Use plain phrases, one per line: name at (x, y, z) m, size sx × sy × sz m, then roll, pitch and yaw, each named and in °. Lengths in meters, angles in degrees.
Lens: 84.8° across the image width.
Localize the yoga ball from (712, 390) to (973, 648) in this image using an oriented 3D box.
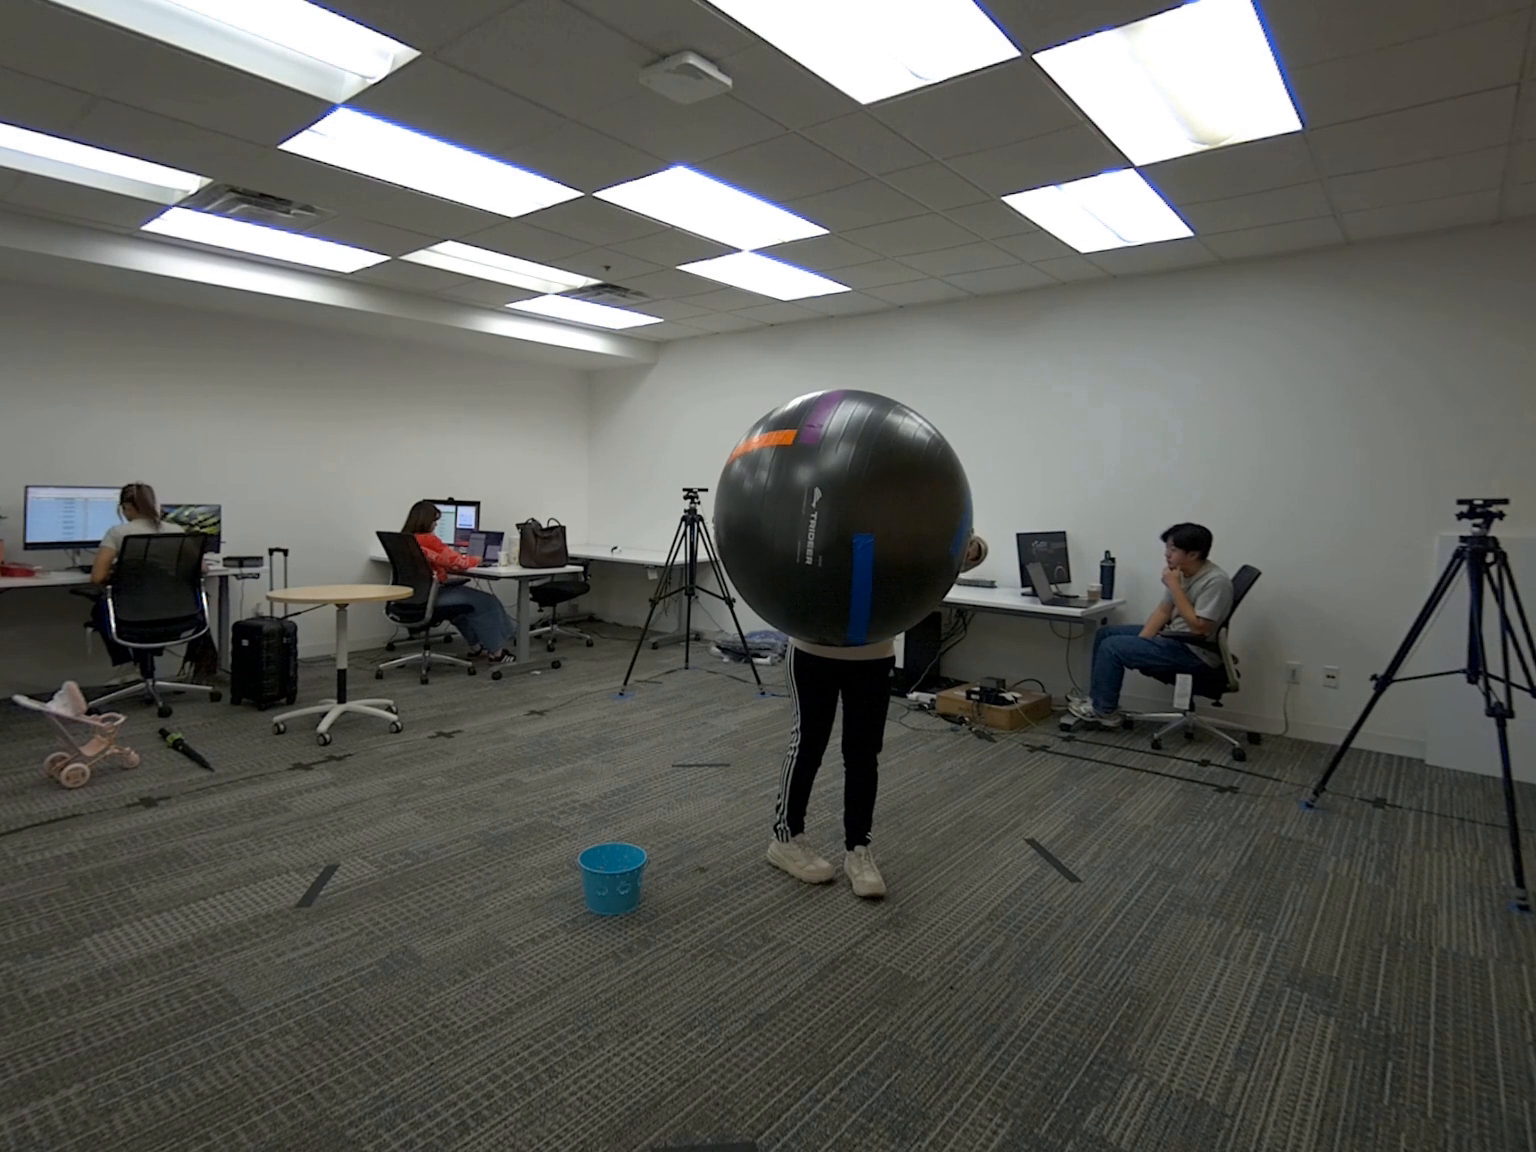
yoga ball at (0.213, -0.163, 2.523) m, size 0.757 × 0.756 × 0.761 m, roll 1°, pitch 4°, yaw -2°
